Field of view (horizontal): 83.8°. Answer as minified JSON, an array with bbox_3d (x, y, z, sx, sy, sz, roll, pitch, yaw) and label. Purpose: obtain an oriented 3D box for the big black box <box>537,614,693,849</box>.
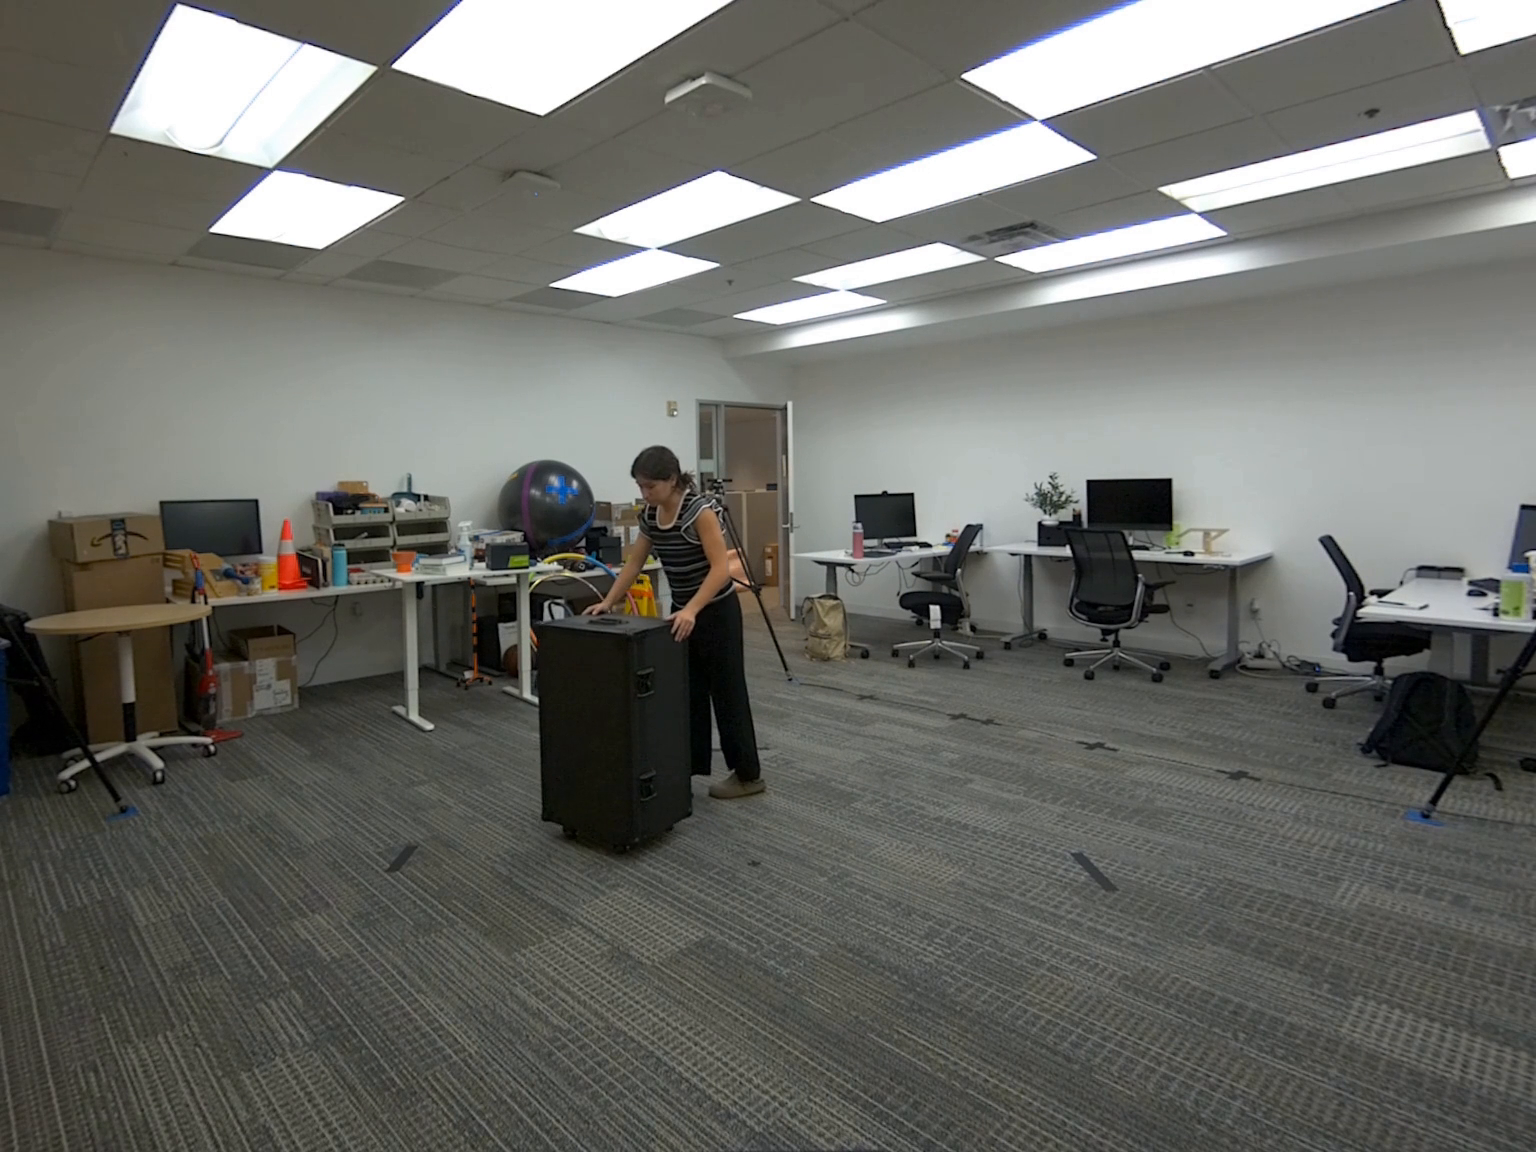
[{"bbox_3d":[-0.600,0.601,3.364,0.536,0.859,0.386,1,3,34],"label":"big black box"}]
